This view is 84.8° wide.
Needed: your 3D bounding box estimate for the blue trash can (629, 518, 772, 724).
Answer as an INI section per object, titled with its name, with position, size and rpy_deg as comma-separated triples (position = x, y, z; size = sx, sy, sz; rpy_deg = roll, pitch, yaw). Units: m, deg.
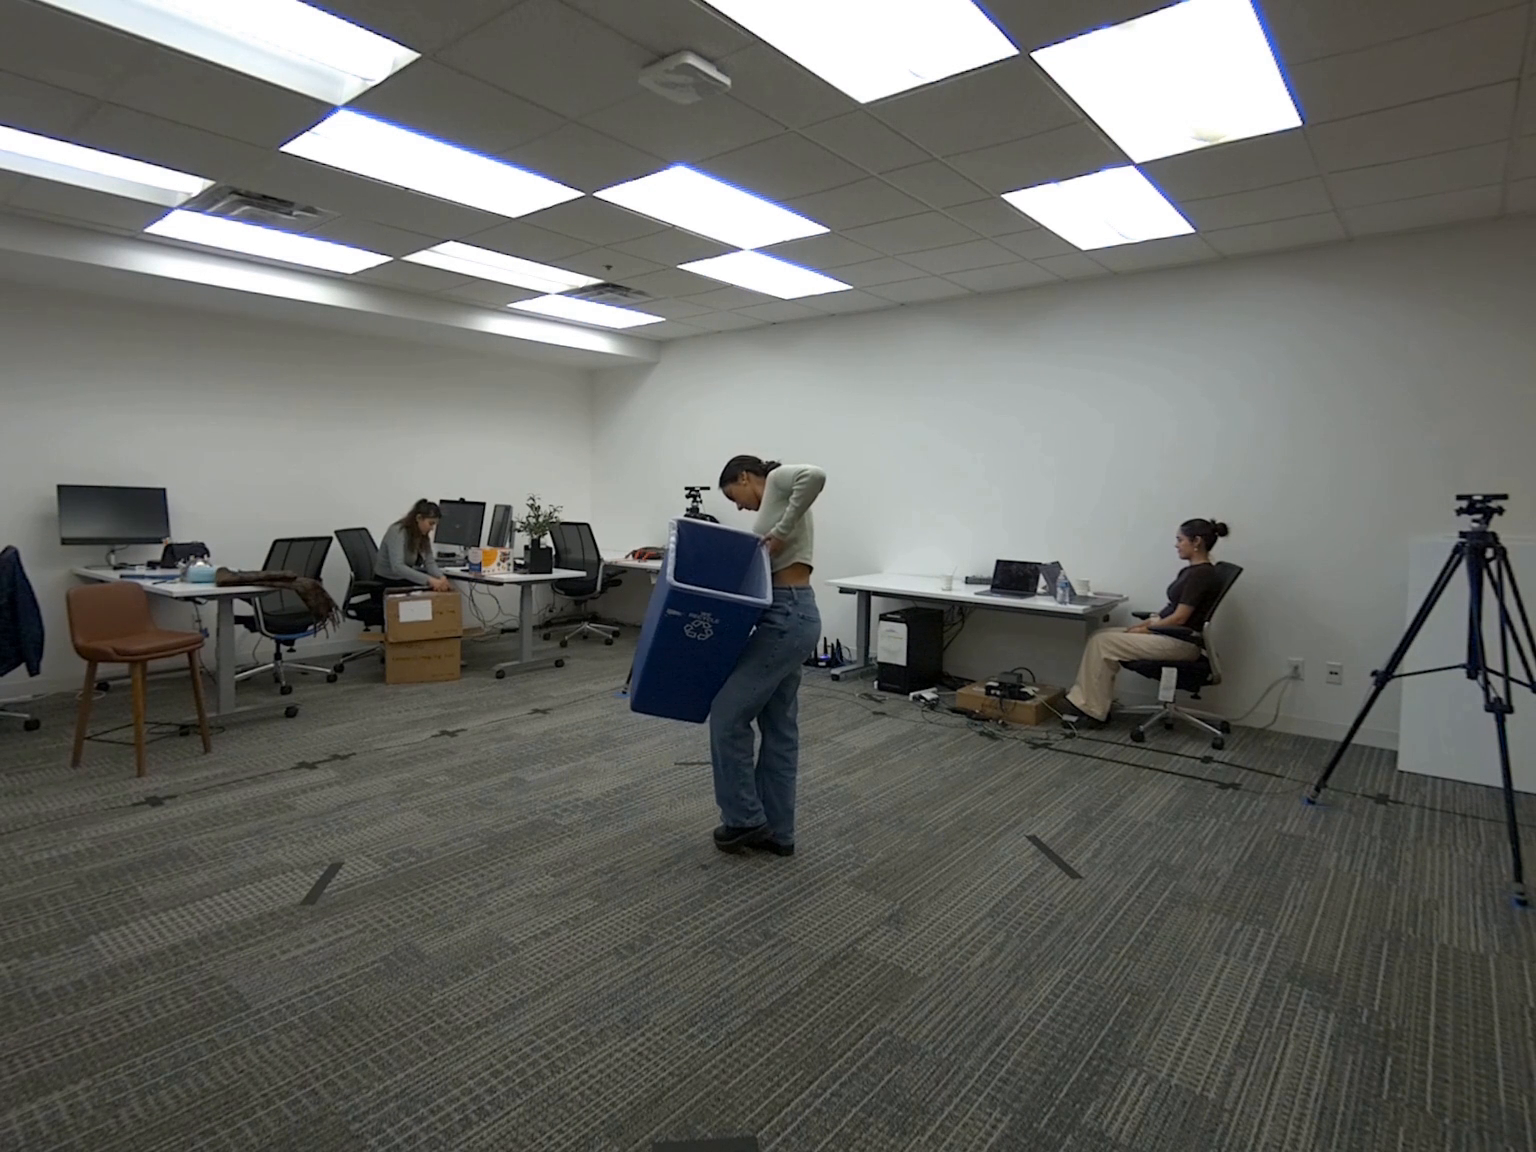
[blue trash can]
position = -0.287, 0.189, 3.168
size = 0.369, 0.703, 0.389
rpy_deg = 12, 39, -12
